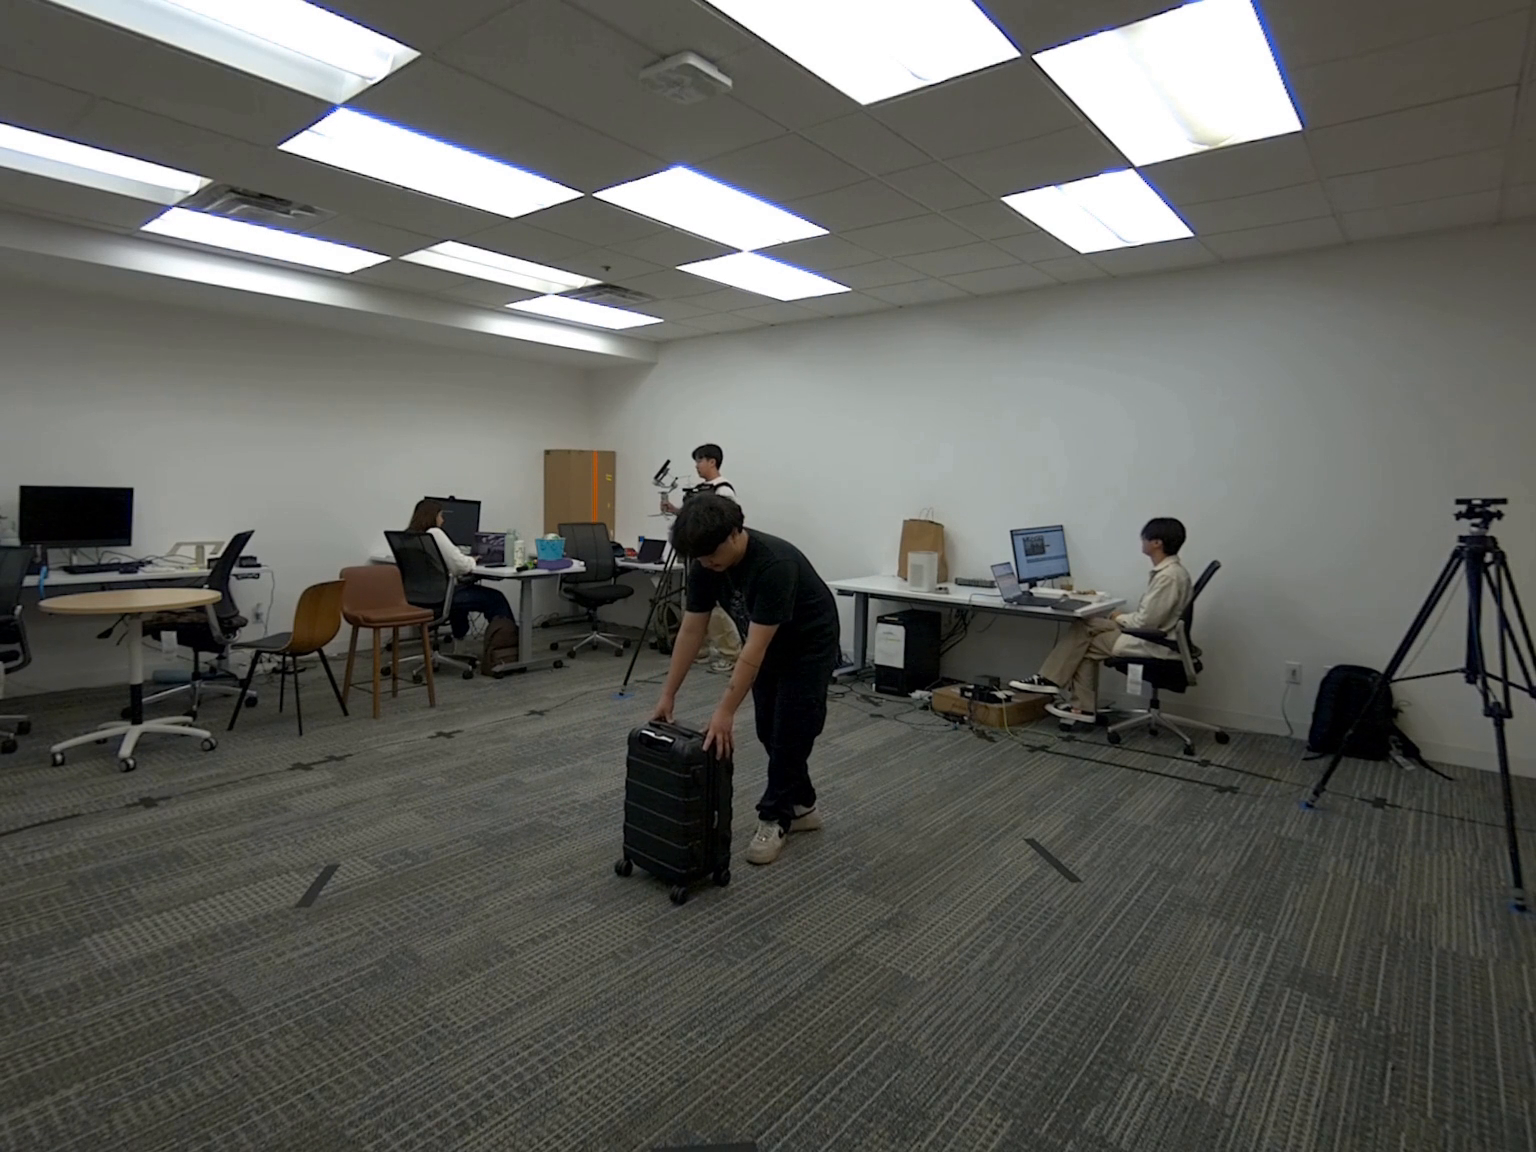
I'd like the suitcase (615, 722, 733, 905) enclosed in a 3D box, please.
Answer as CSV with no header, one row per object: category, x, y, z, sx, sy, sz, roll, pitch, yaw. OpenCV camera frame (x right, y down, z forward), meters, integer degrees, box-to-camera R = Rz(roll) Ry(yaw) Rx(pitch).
suitcase,-0.334,0.804,3.035,0.388,0.549,0.240,3,1,44
